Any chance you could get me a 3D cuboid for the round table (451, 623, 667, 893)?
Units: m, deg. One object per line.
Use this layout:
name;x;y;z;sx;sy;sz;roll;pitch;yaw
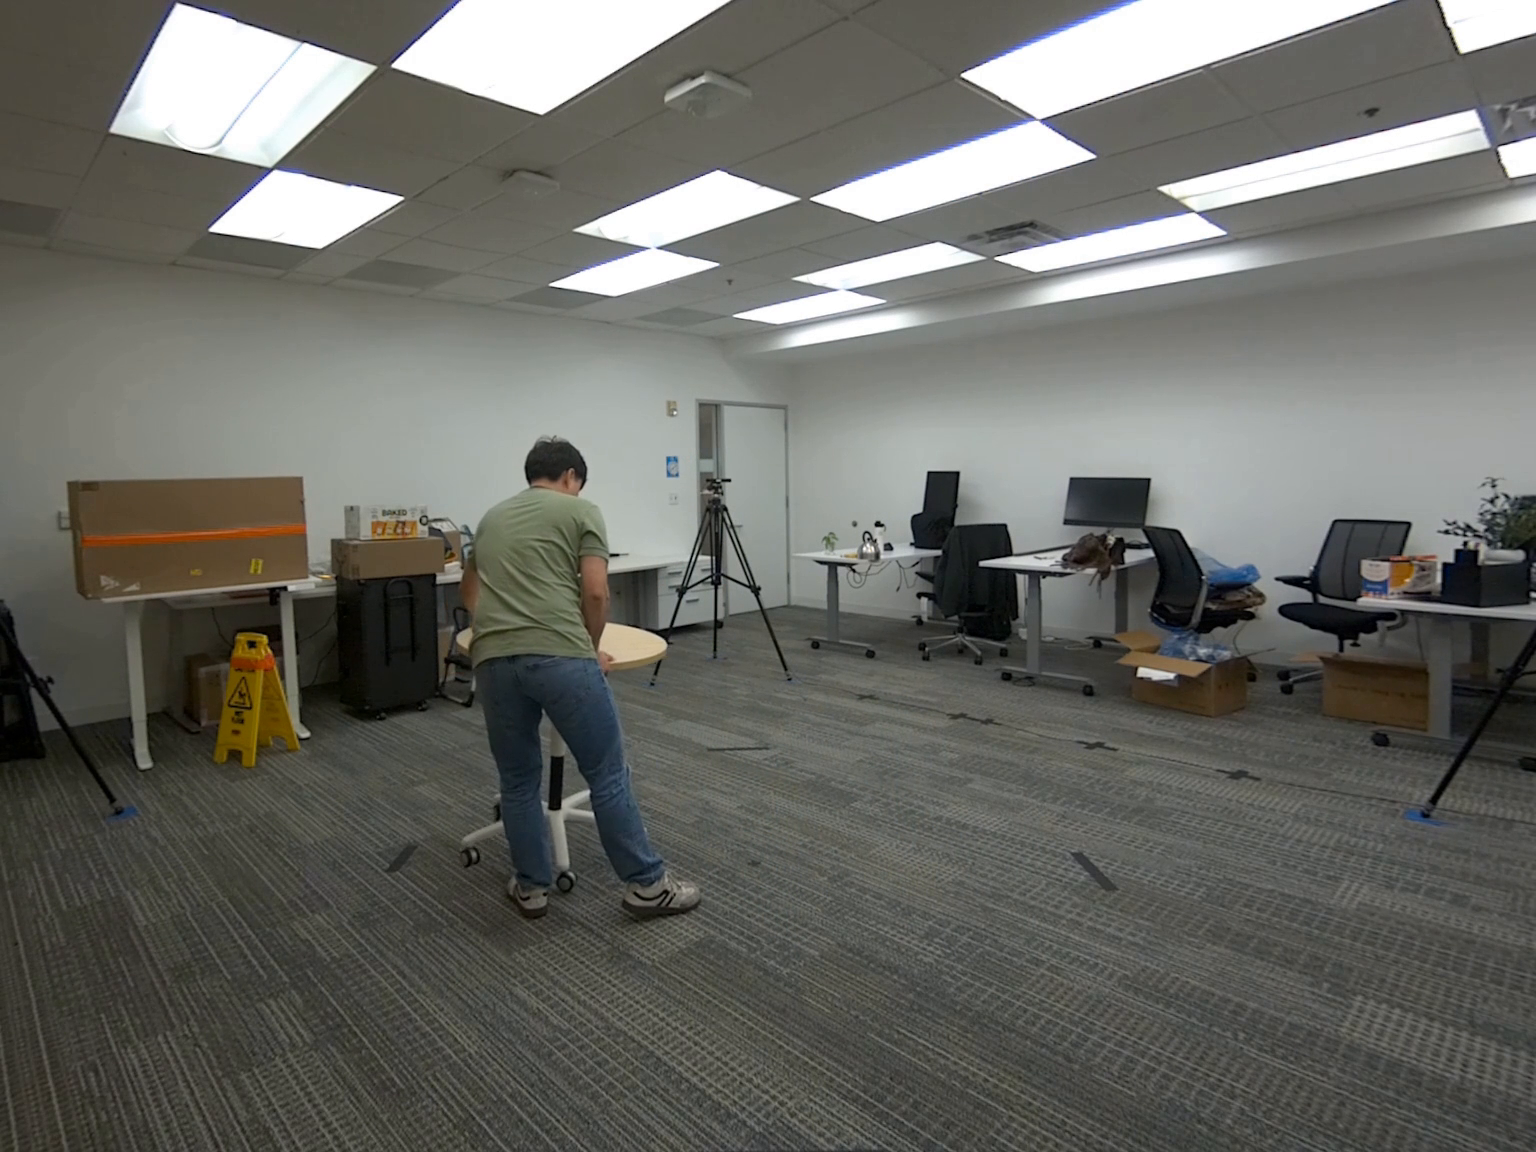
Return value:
round table;-0.781;0.628;3.198;0.763;0.790;0.769;3;6;-2
